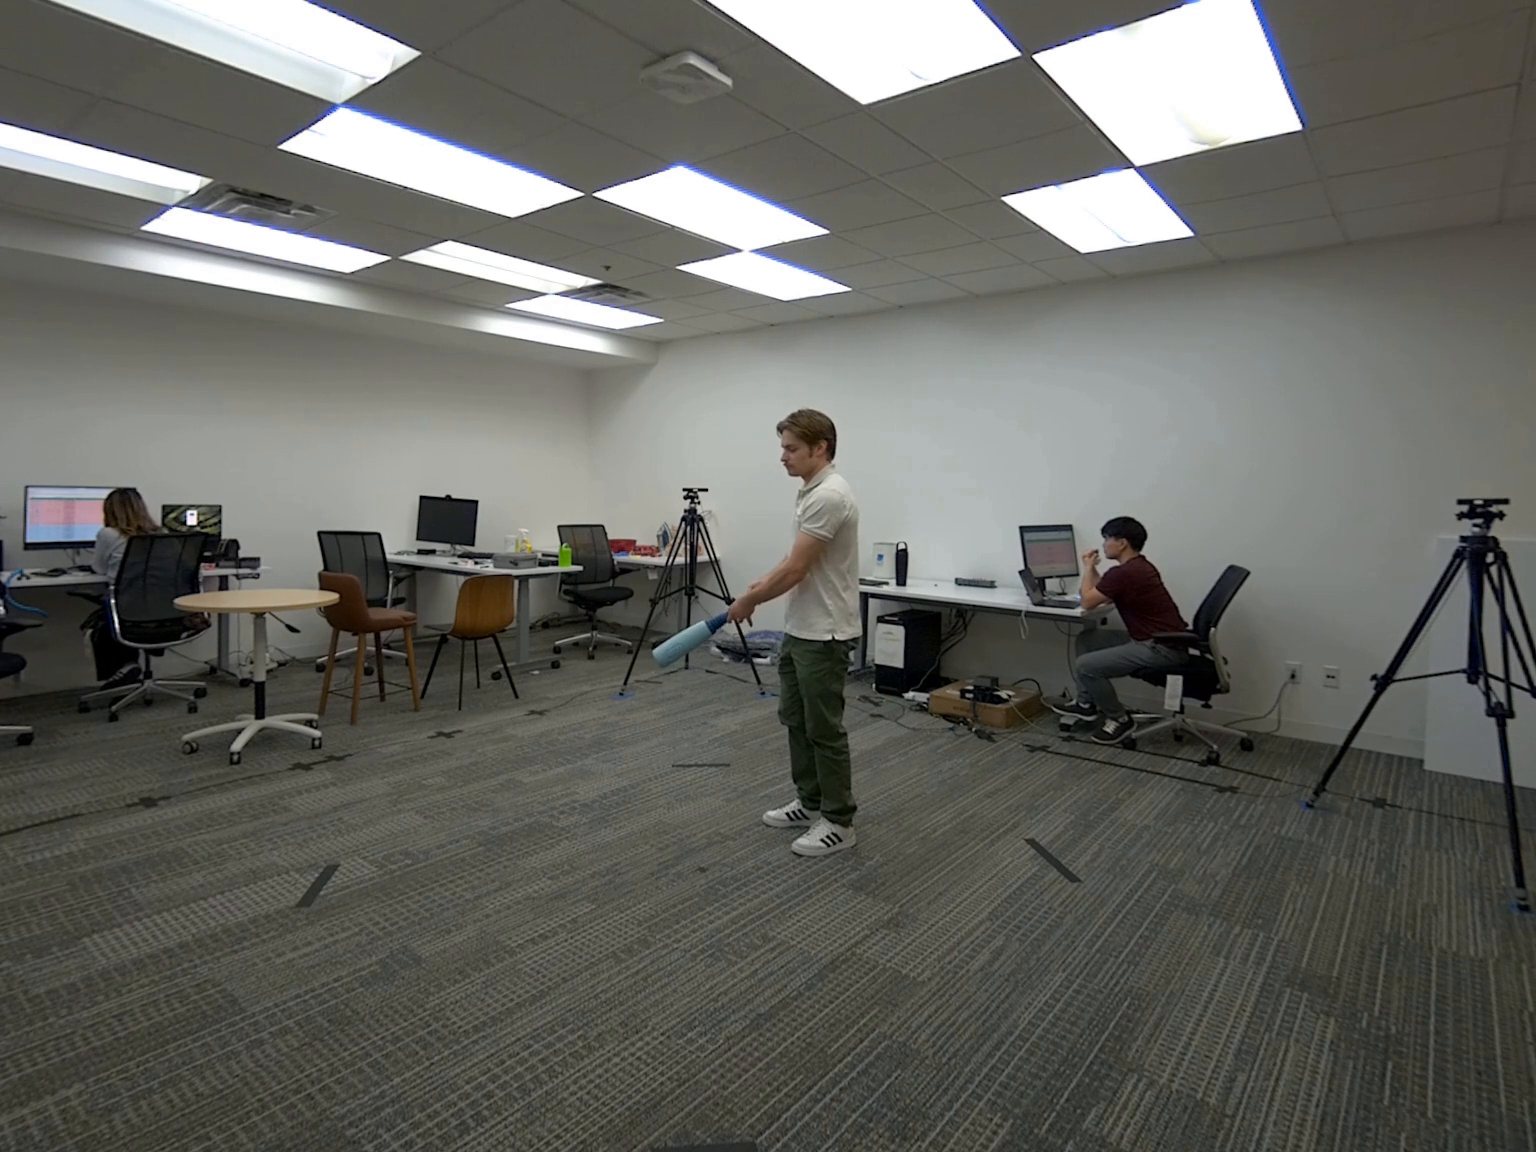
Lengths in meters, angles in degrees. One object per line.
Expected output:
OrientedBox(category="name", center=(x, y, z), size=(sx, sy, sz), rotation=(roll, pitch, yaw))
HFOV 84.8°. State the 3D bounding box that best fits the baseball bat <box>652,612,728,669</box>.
OrientedBox(category="baseball bat", center=(-0.216, 0.214, 3.426), size=(0.542, 0.088, 0.090), rotation=(-32, 6, -2))
